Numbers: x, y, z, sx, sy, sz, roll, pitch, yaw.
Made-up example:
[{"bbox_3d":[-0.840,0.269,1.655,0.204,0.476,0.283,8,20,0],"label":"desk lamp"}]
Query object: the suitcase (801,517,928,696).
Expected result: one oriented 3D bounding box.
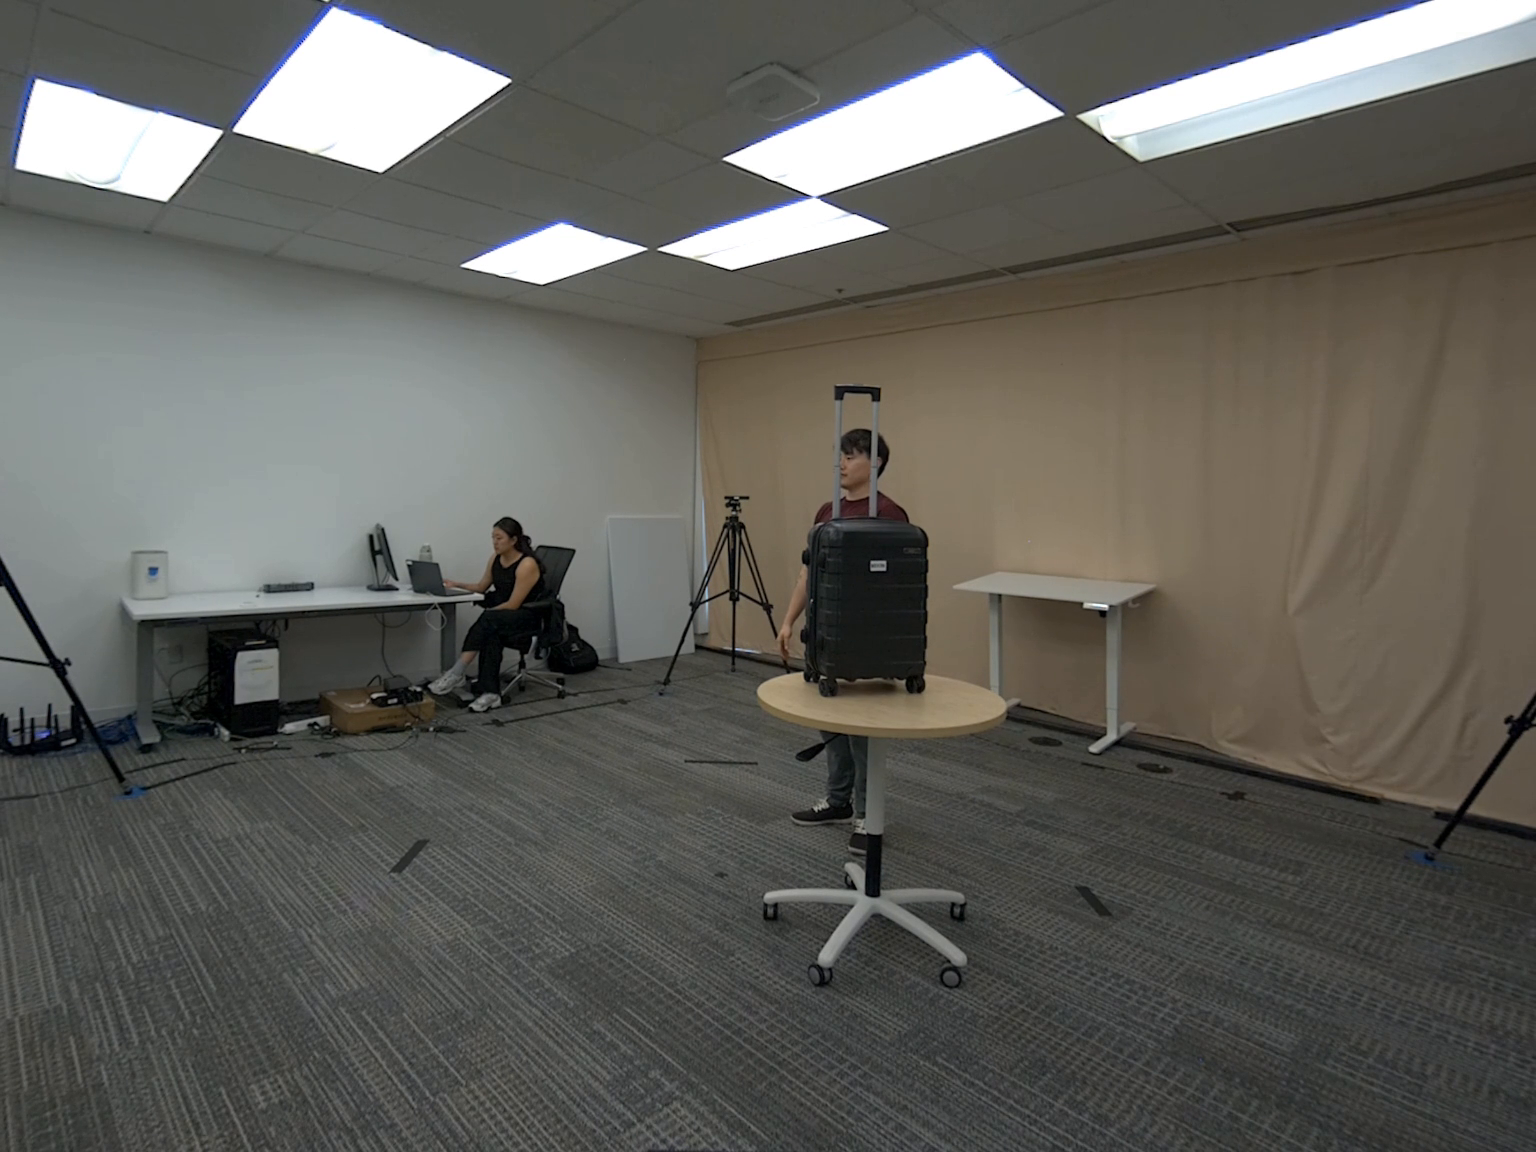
[{"bbox_3d":[0.312,-0.113,2.690,0.381,0.974,0.260,0,6,-10],"label":"suitcase"}]
